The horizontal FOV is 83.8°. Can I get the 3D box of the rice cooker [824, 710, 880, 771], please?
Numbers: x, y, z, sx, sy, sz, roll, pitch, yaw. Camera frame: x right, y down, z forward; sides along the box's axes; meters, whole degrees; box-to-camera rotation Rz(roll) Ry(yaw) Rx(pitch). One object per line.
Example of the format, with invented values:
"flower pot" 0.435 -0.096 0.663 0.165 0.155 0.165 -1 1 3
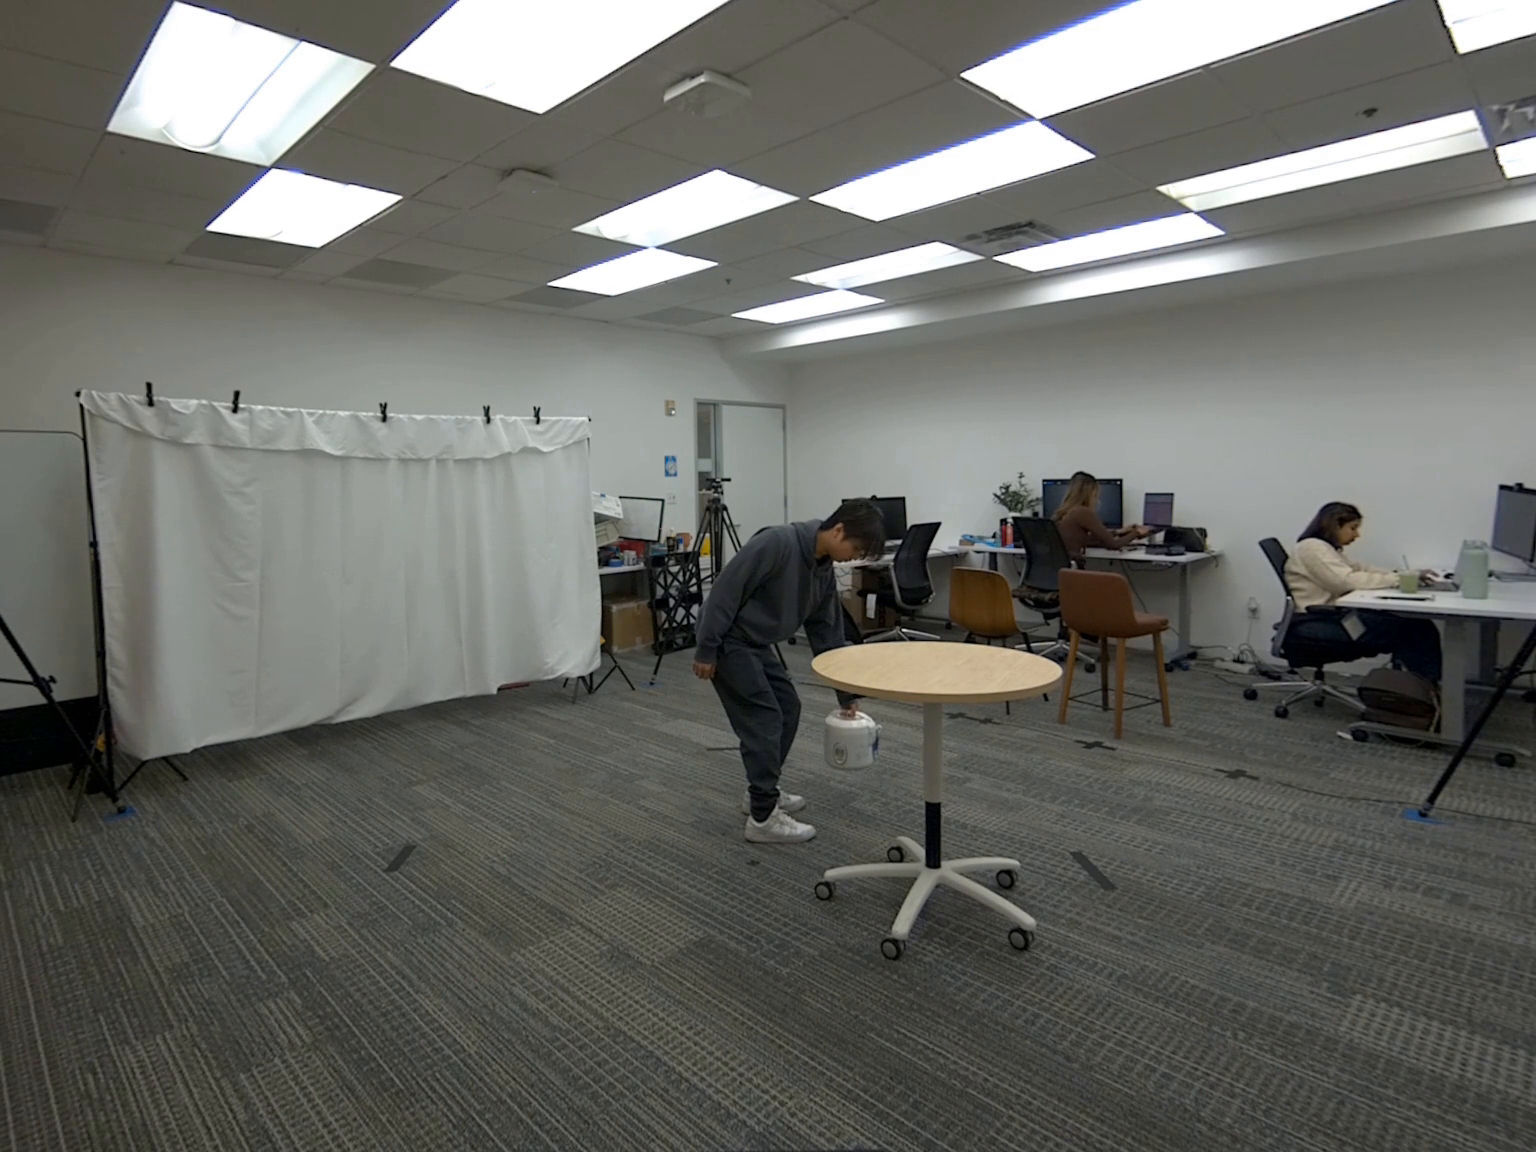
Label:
"rice cooker" 0.339 0.670 3.551 0.226 0.232 0.213 2 6 28
